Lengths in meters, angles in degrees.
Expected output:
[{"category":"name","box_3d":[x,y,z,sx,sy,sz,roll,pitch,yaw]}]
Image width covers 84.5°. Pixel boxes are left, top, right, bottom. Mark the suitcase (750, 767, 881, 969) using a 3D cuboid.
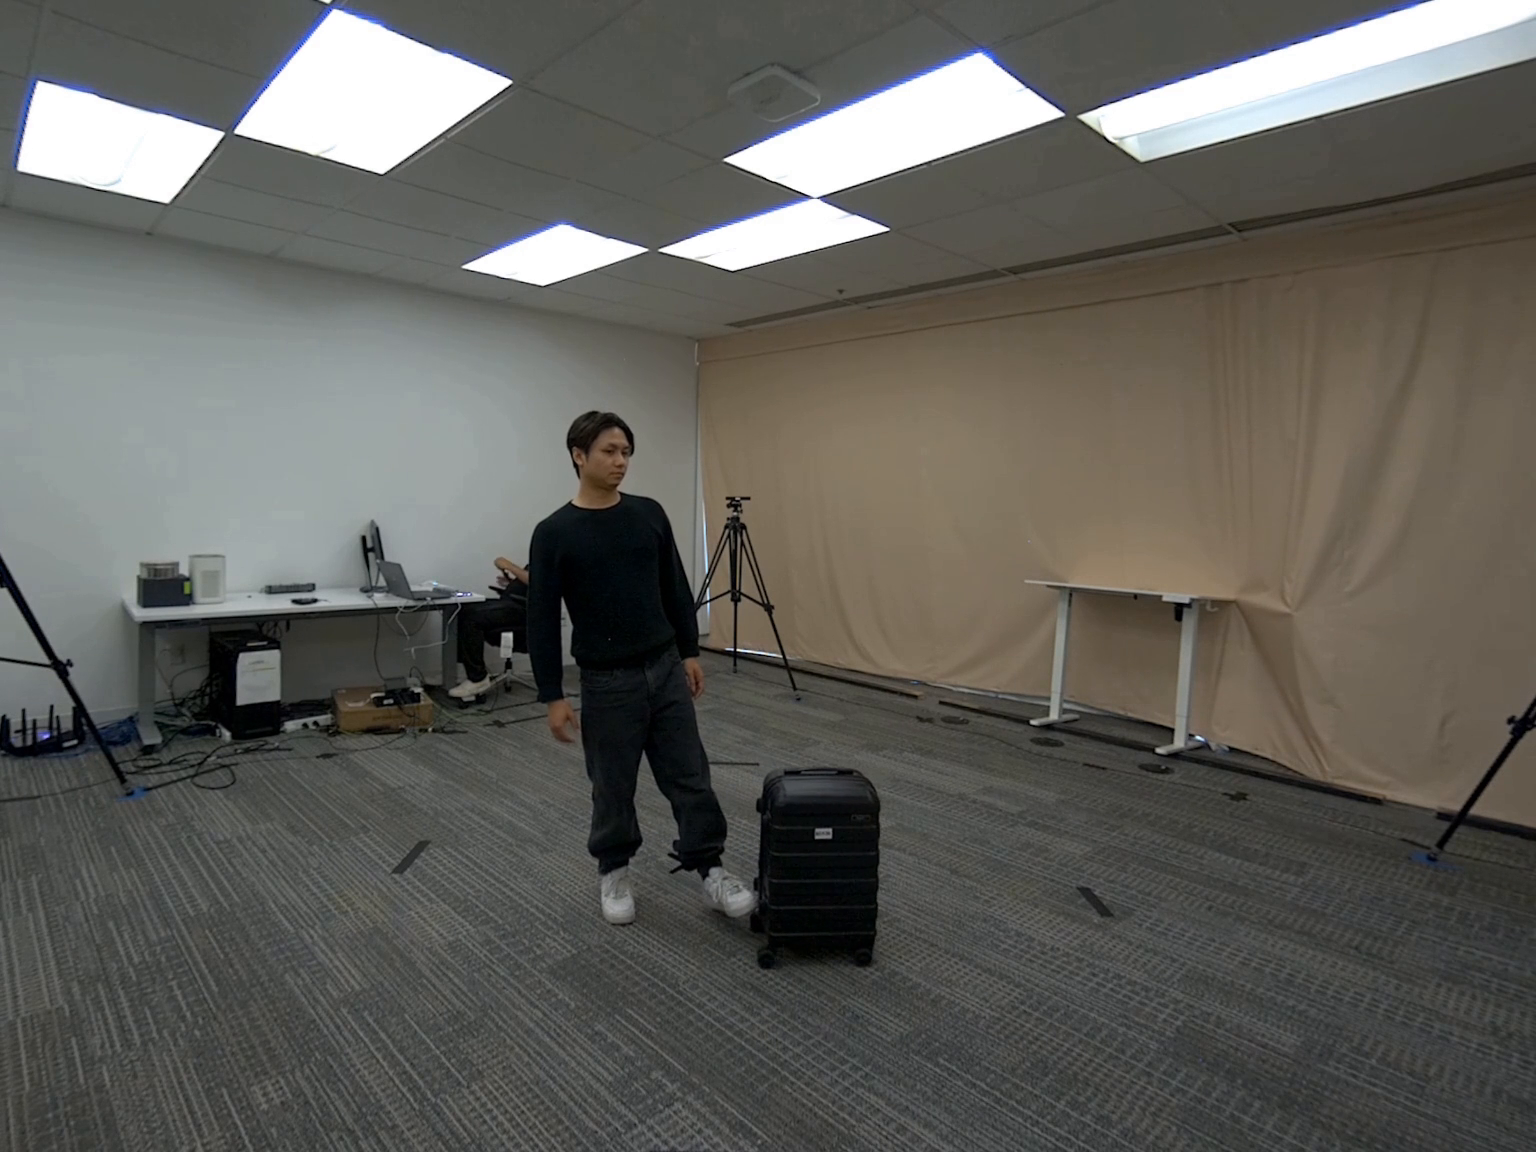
[{"category":"suitcase","box_3d":[0.155,0.888,2.603,0.374,0.548,0.250,2,4,-5]}]
